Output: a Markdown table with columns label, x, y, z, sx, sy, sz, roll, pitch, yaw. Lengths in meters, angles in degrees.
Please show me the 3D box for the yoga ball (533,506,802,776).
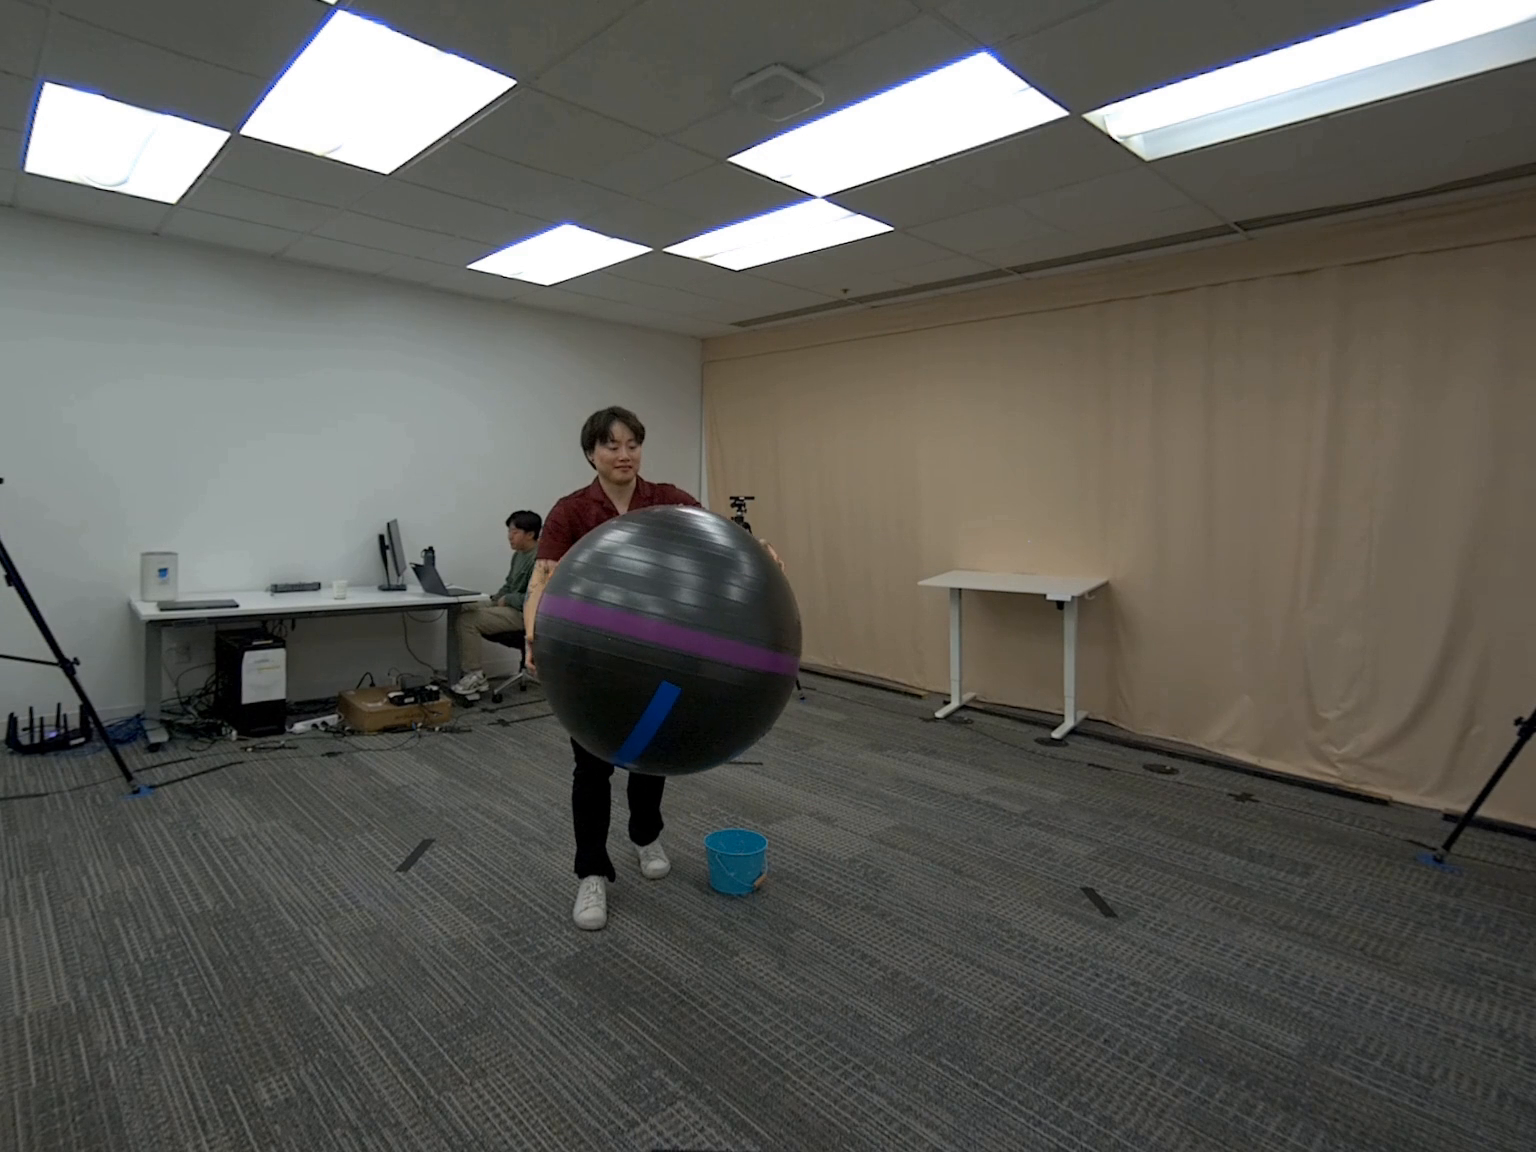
| label | x | y | z | sx | sy | sz | roll | pitch | yaw |
| --- | --- | --- | --- | --- | --- | --- | --- | --- | --- |
| yoga ball | -0.286 | 0.184 | 2.409 | 0.757 | 0.756 | 0.761 | 1 | 4 | -1 |
